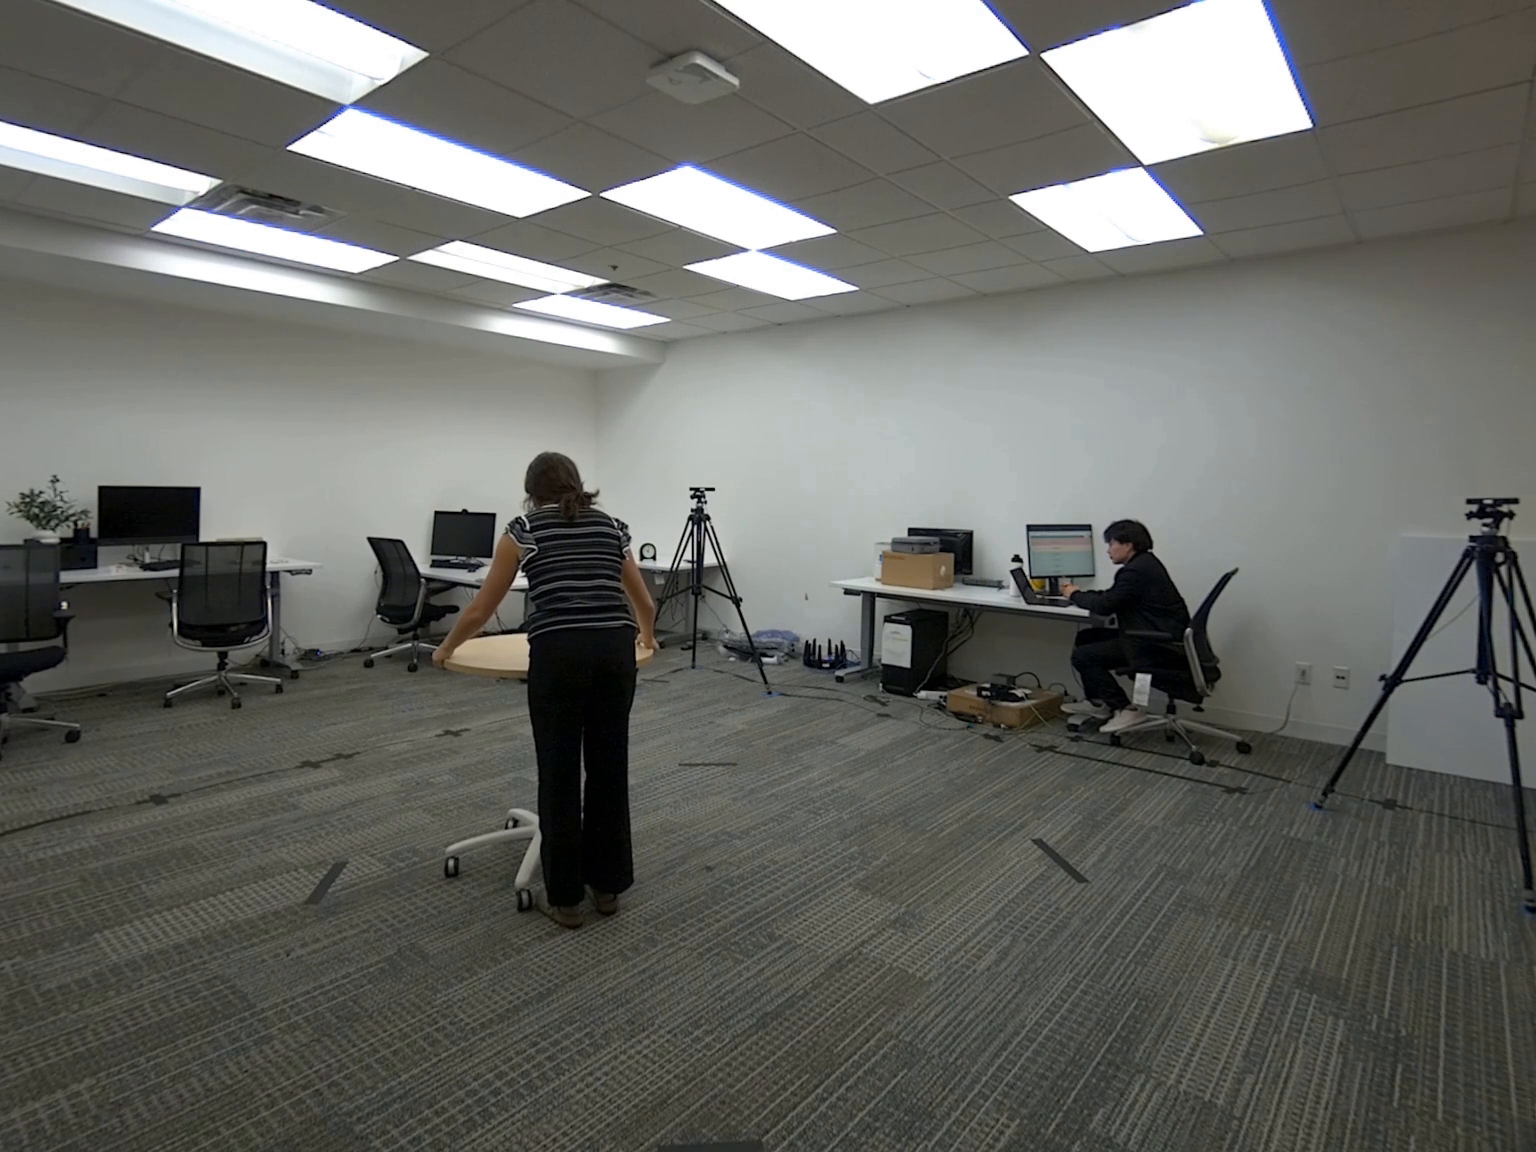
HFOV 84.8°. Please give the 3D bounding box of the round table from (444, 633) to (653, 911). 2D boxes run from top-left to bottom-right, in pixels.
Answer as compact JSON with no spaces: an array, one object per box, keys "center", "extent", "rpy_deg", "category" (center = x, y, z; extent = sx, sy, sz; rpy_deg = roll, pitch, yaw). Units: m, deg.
[{"center":[-0.822,0.661,3.115],"extent":[0.763,0.792,0.767],"rpy_deg":[1,3,-2],"category":"round table"}]
